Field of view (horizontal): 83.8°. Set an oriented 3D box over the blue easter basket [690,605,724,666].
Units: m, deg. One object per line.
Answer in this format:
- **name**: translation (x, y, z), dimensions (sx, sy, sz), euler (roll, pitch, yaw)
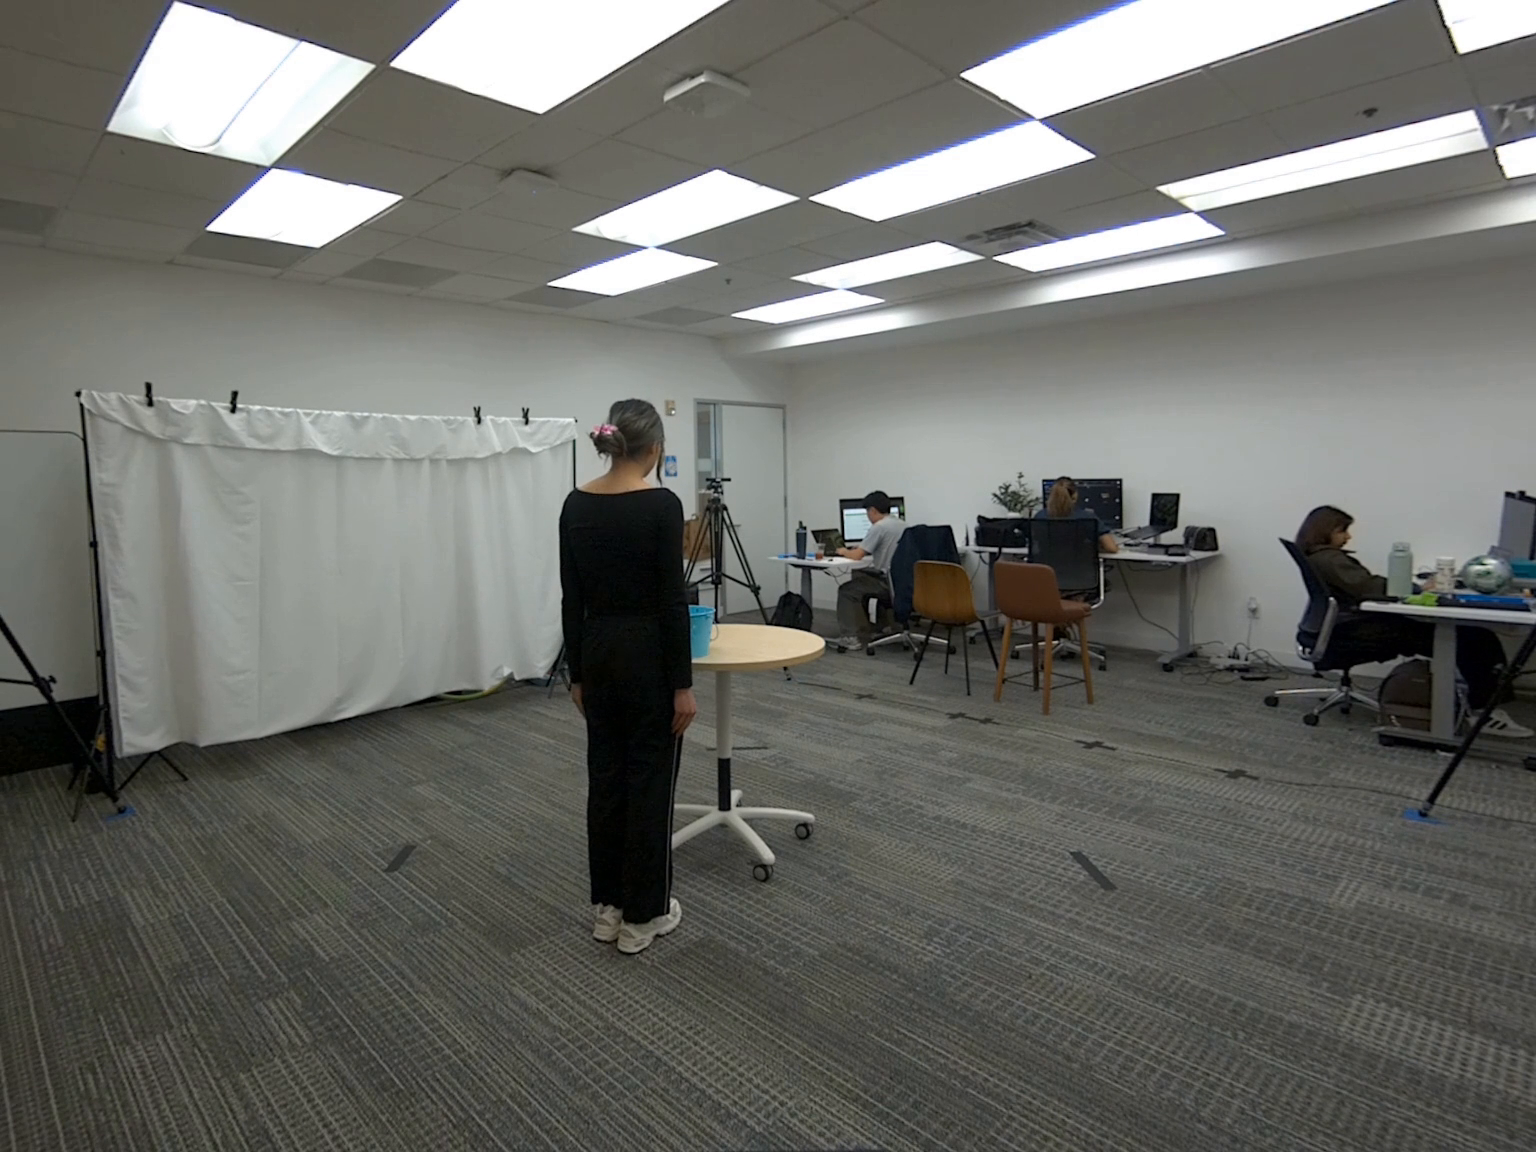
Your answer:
- **blue easter basket**: translation (-0.280, 0.202, 2.983), dimensions (0.243, 0.155, 0.245), euler (0, 8, -2)
